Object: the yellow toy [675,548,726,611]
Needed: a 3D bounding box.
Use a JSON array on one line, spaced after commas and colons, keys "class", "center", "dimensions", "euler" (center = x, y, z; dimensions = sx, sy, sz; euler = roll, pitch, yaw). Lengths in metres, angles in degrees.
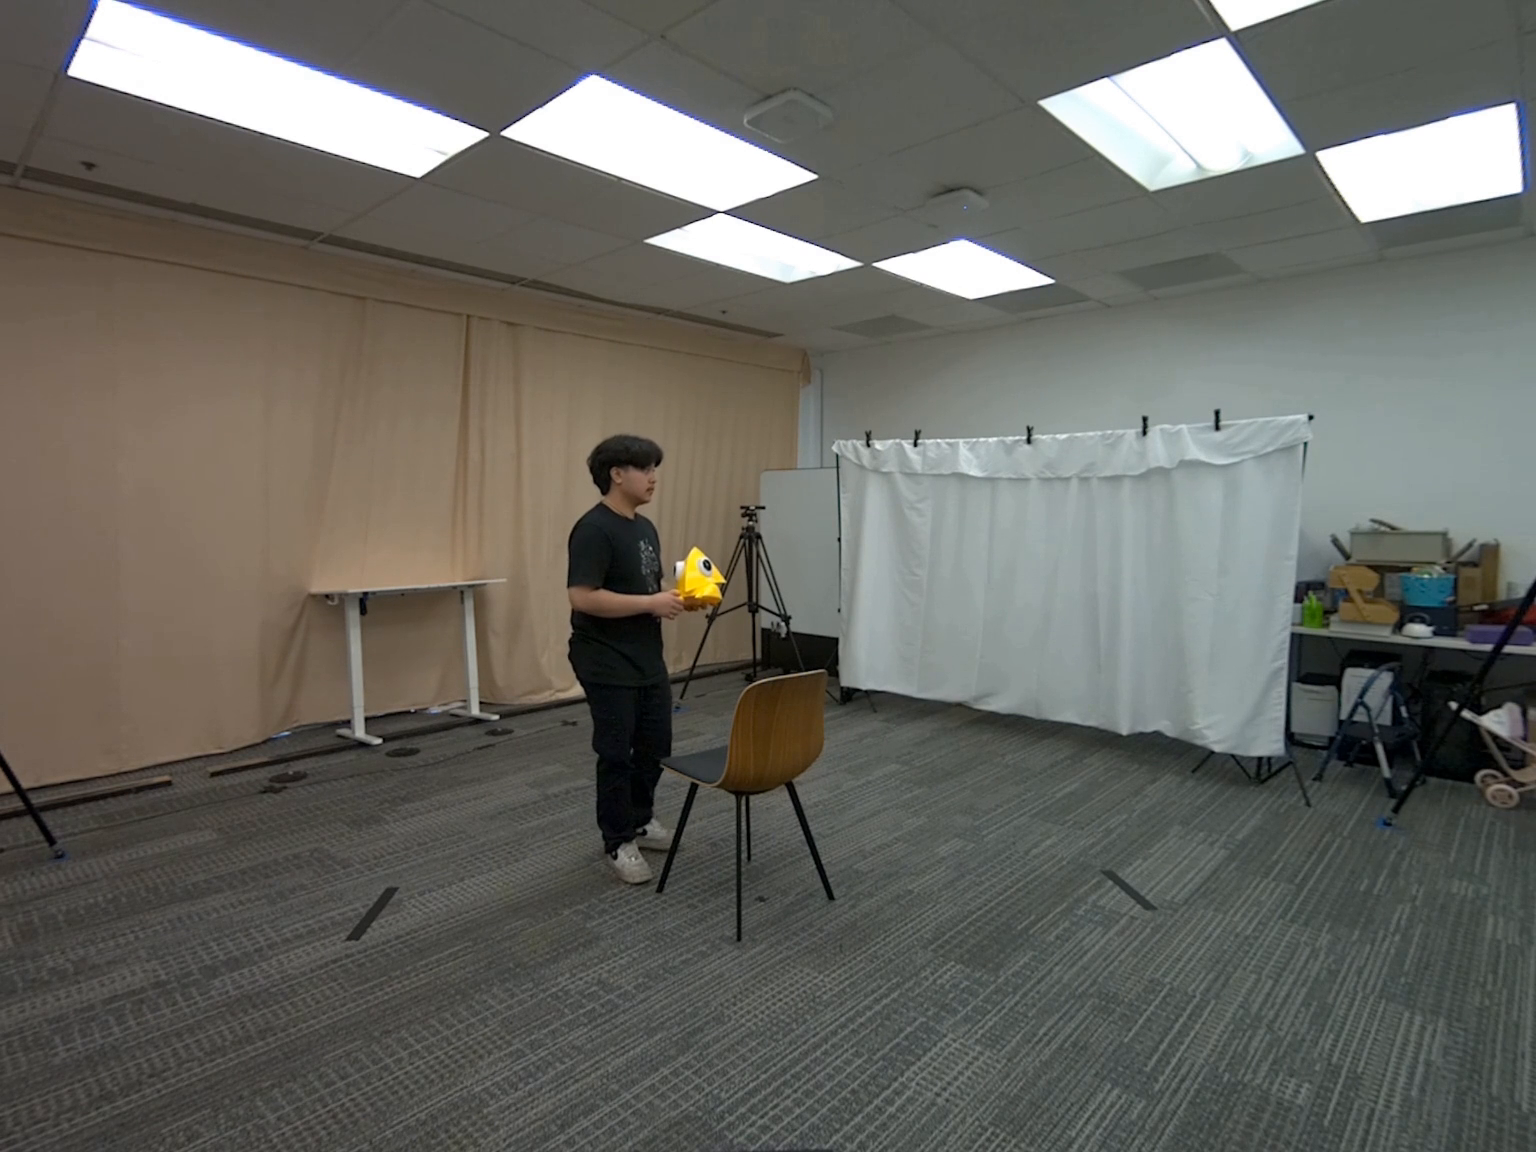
[{"class": "yellow toy", "center": [-0.283, -0.011, 3.164], "dimensions": [0.208, 0.233, 0.188], "euler": [-9, -15, 14]}]
